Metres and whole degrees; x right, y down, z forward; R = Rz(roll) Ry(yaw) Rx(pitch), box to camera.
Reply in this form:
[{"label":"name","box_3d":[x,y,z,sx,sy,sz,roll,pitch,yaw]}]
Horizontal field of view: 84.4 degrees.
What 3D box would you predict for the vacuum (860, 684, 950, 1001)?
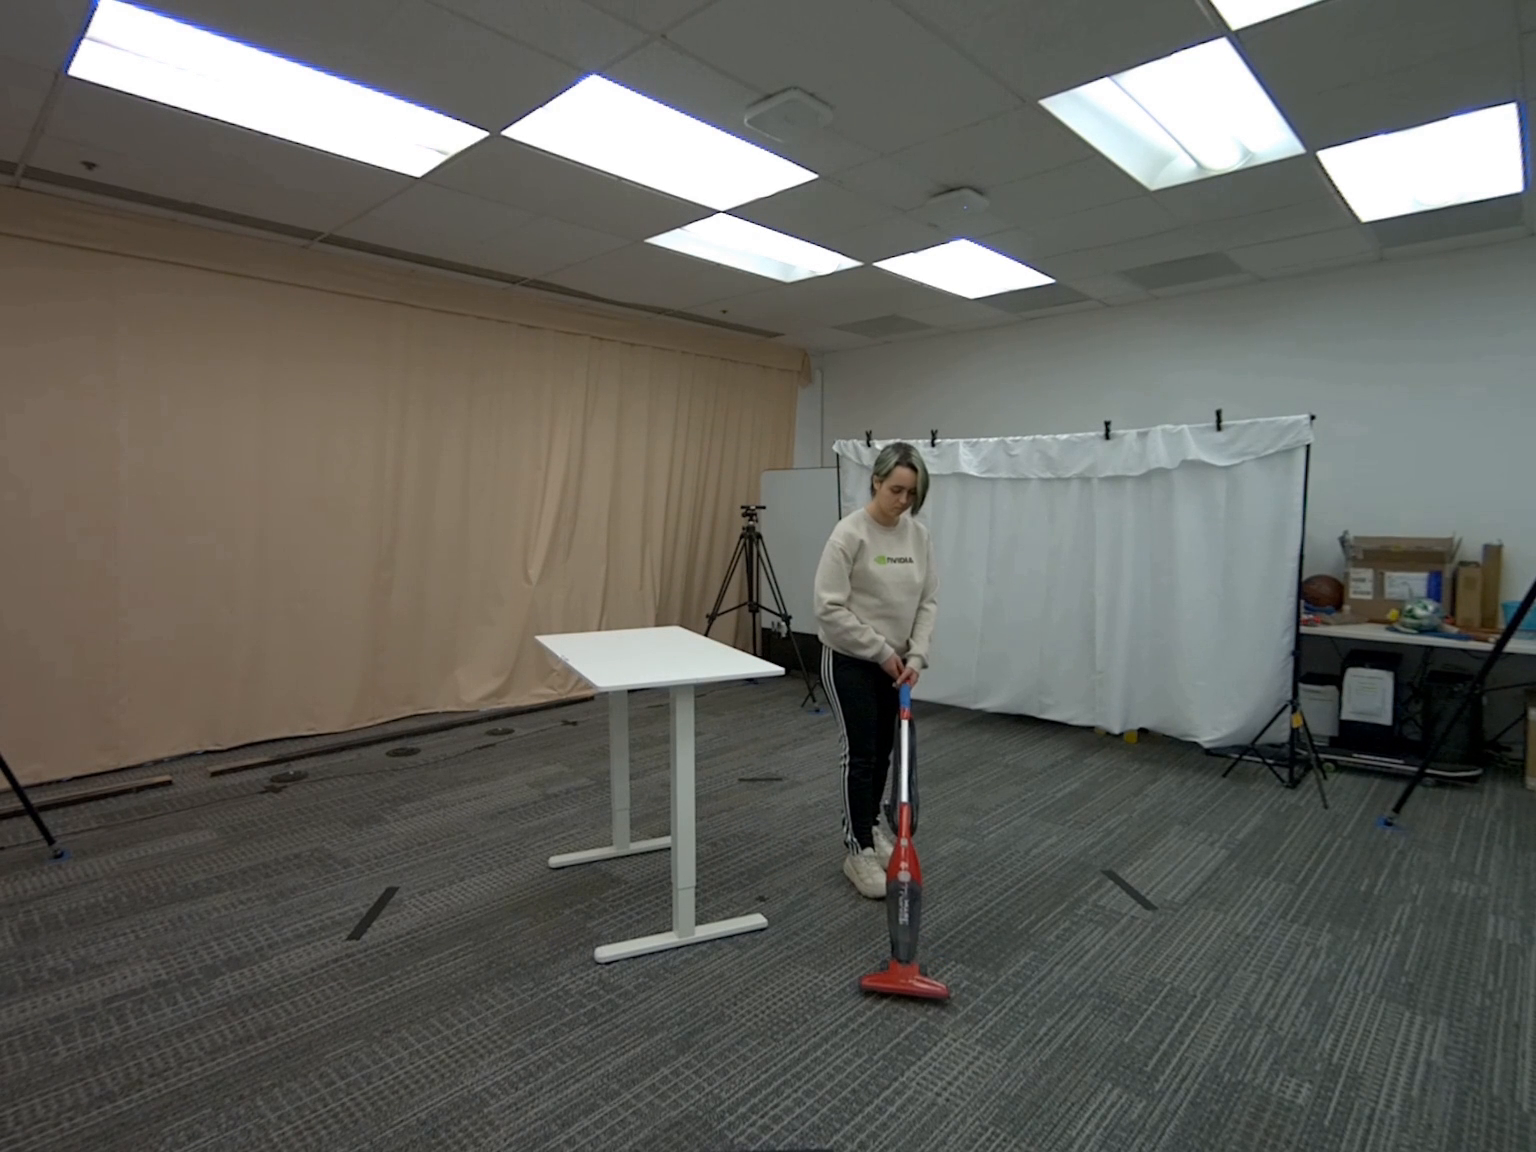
[{"label":"vacuum","box_3d":[0.455,0.773,2.733,0.255,1.062,0.141,2,-39,9]}]
